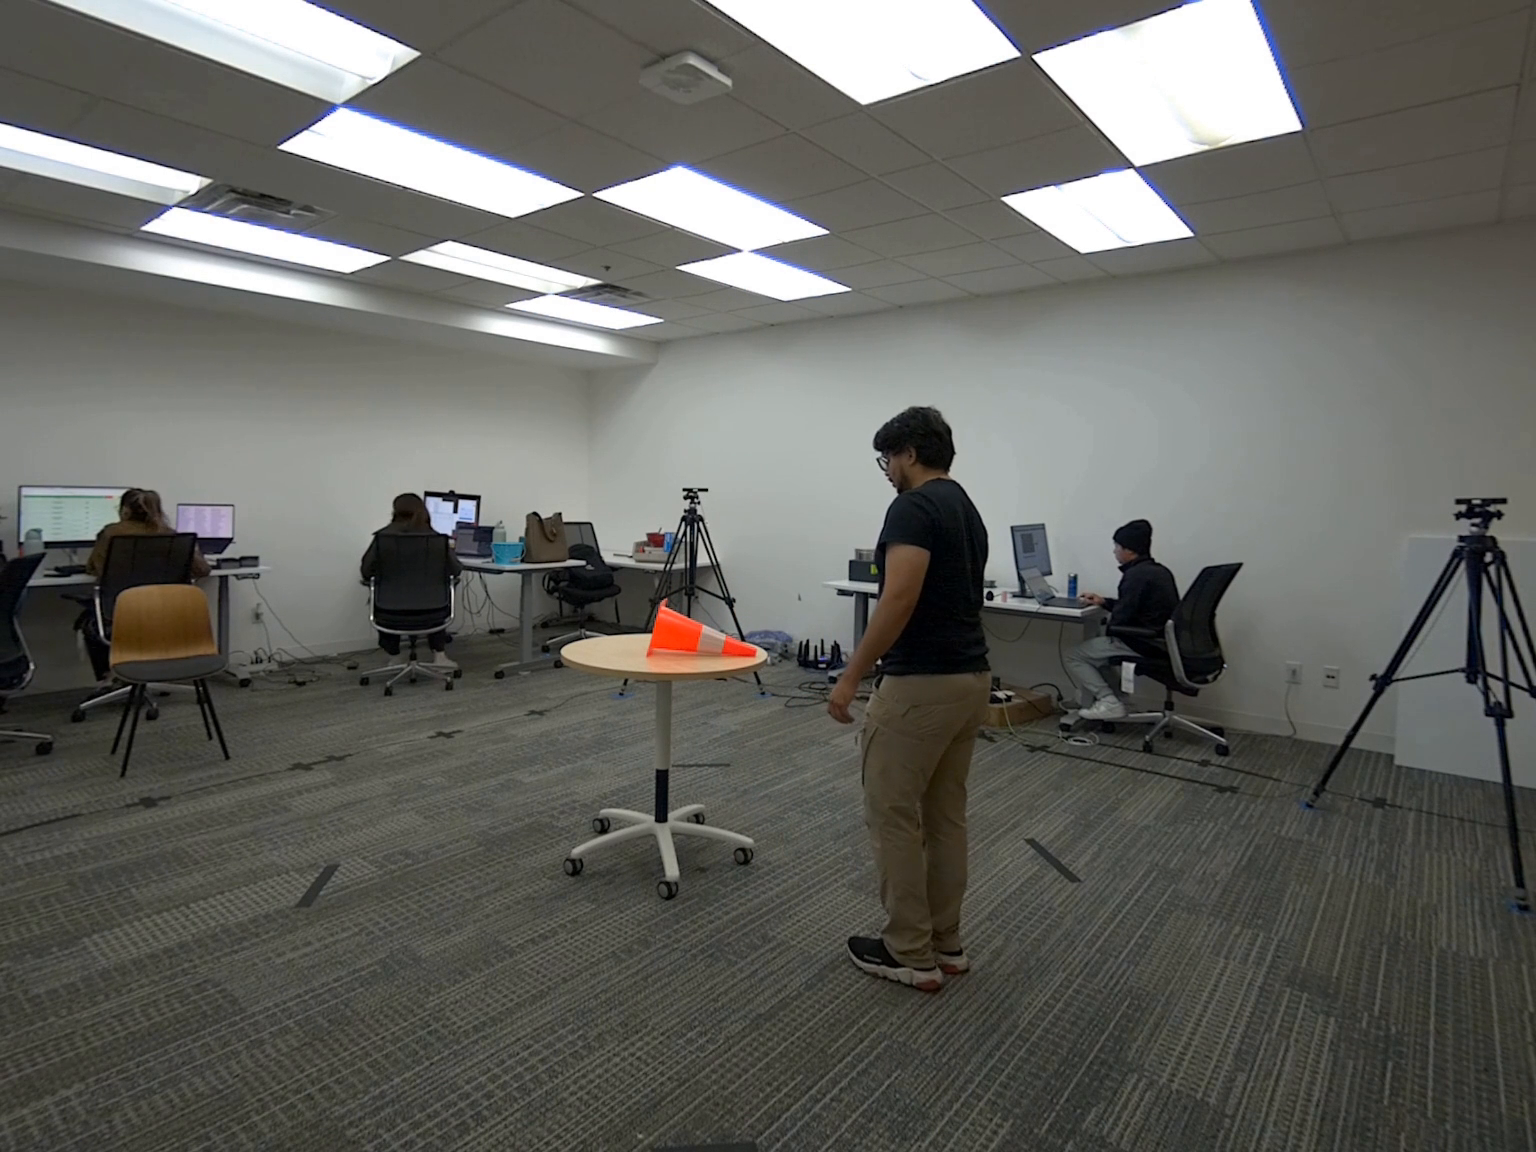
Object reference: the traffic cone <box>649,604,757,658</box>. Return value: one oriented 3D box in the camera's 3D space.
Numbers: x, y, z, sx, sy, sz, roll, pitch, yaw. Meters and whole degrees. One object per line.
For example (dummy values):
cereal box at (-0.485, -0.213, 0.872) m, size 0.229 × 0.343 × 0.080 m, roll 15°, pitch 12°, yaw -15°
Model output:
traffic cone at (-0.234, 0.242, 3.125) m, size 0.382 × 0.204 × 0.205 m, roll 16°, pitch -6°, yaw -4°
